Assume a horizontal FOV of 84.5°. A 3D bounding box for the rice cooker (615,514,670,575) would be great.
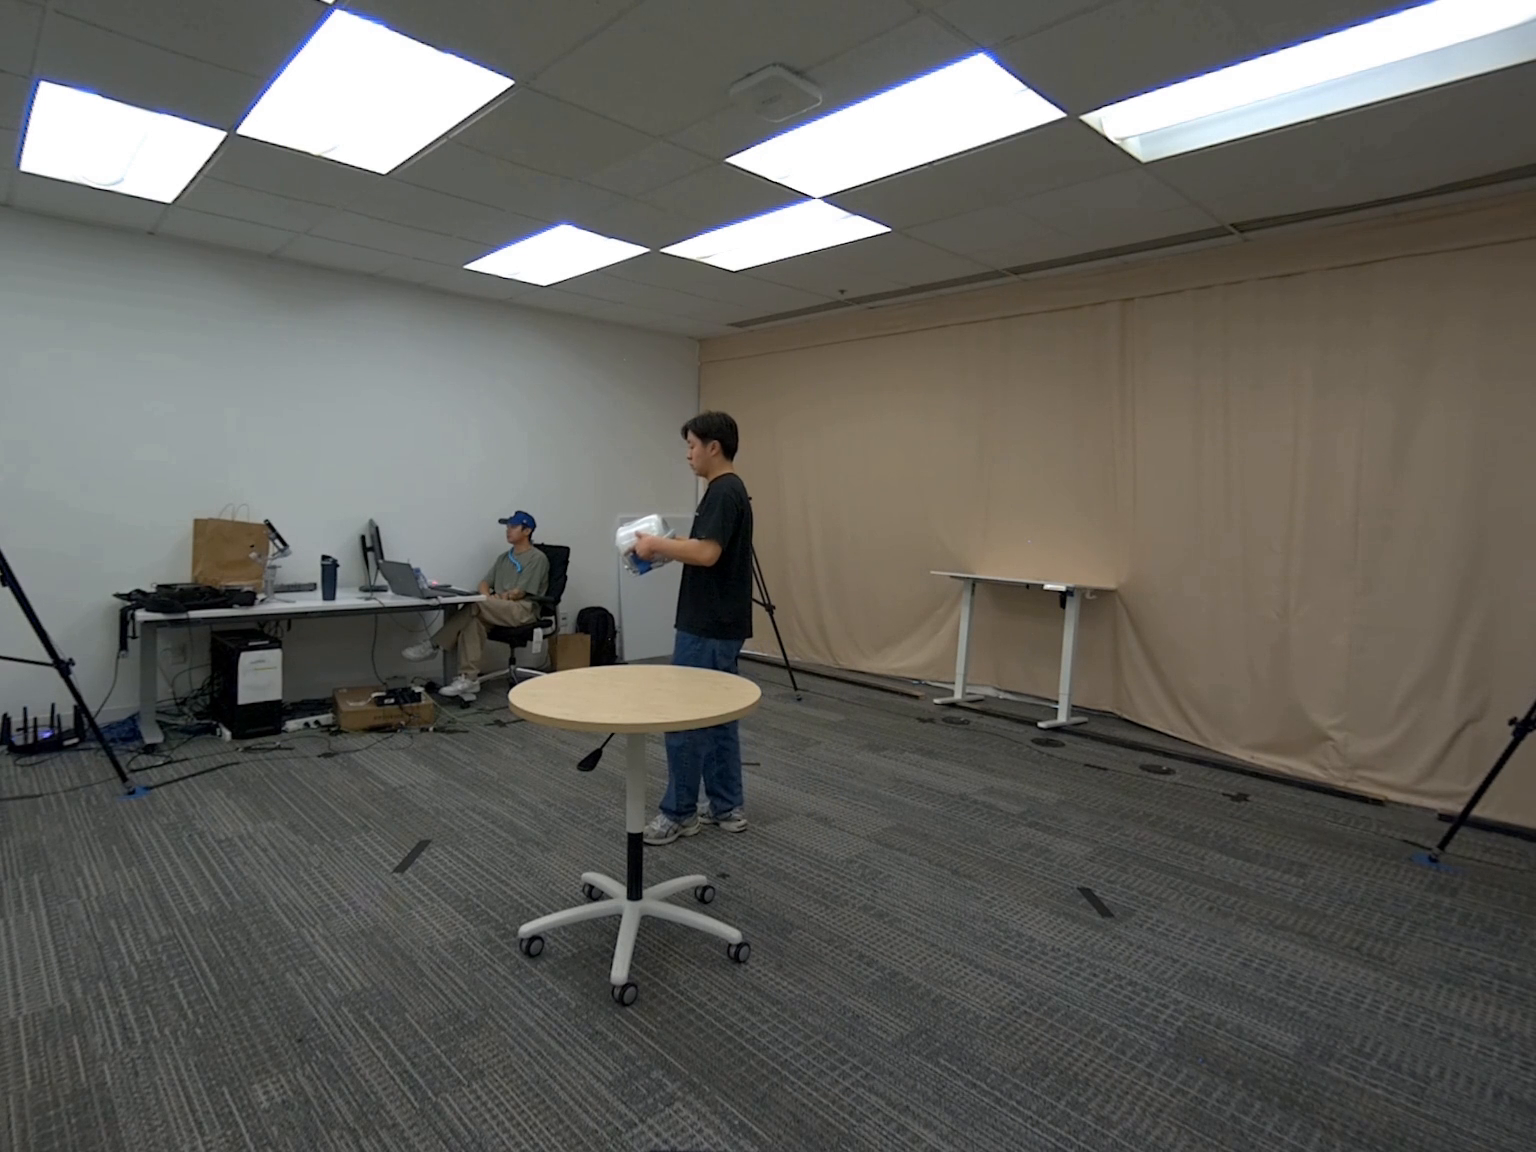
[{"bbox_3d":[-0.499,-0.136,3.500,0.233,0.217,0.221,-20,4,5],"label":"rice cooker"}]
